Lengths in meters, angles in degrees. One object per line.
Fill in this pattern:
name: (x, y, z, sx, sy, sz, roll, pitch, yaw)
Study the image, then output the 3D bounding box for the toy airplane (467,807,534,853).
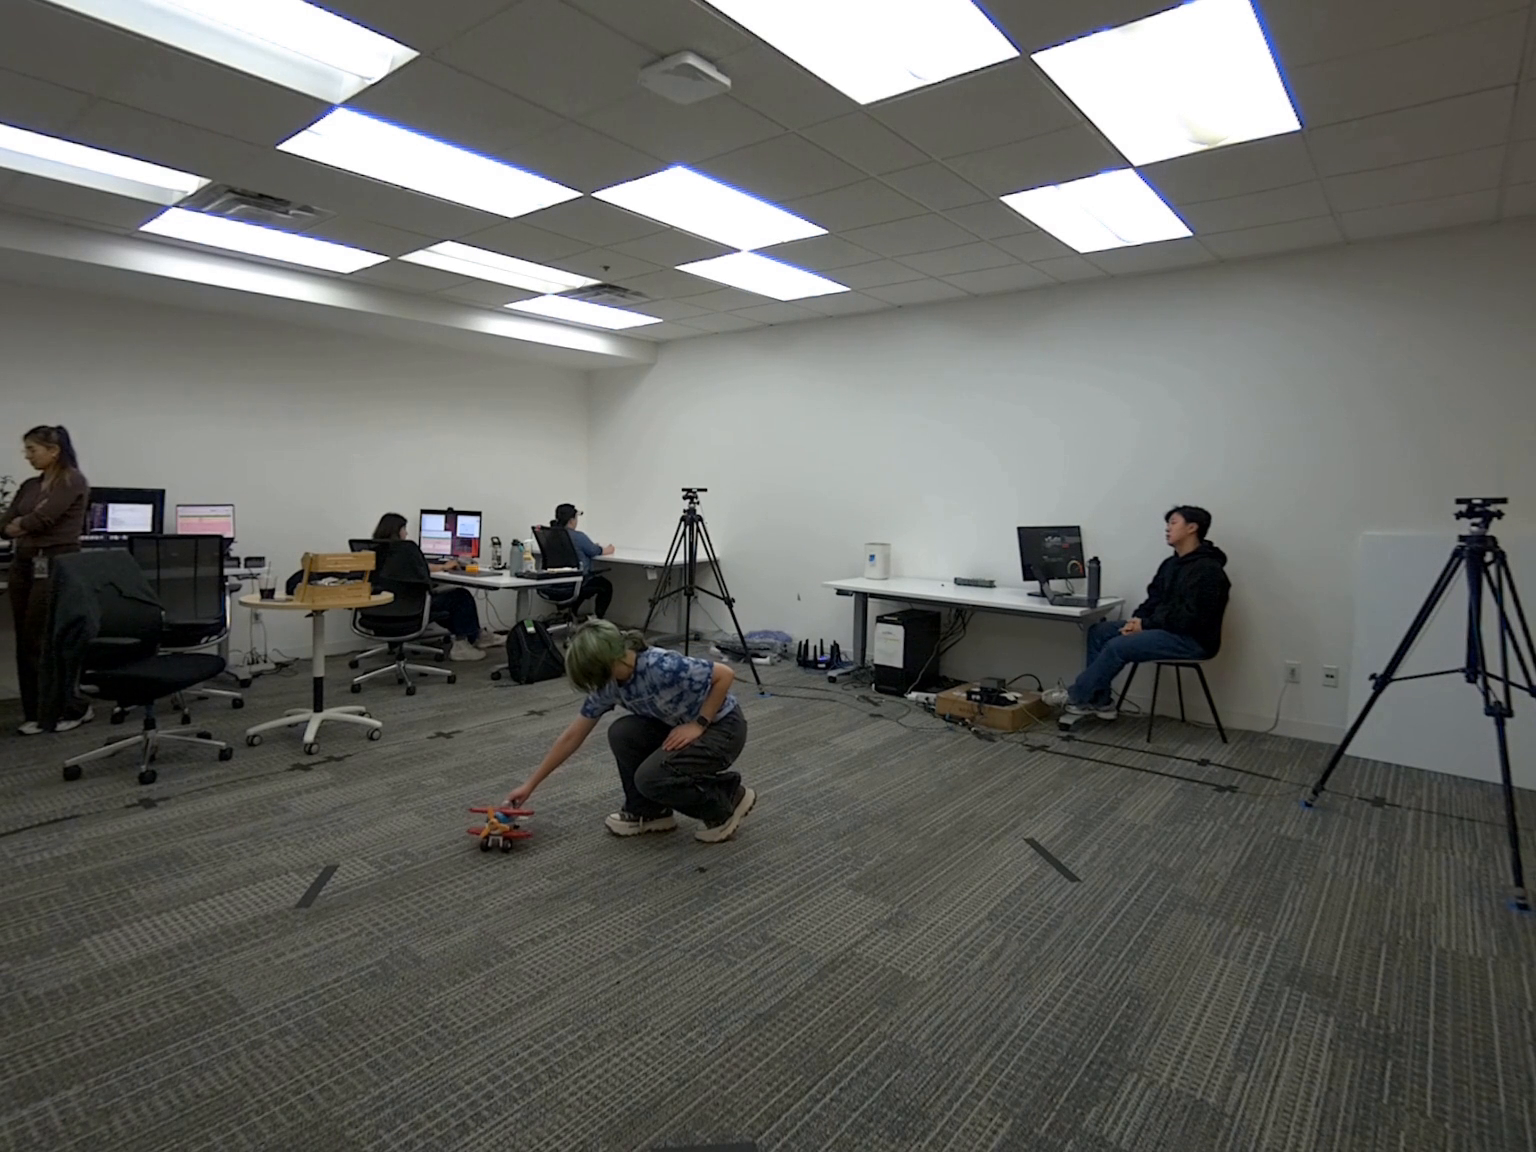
toy airplane: (-1.062, 0.963, 3.317, 0.246, 0.156, 0.266, -2, 6, -23)
